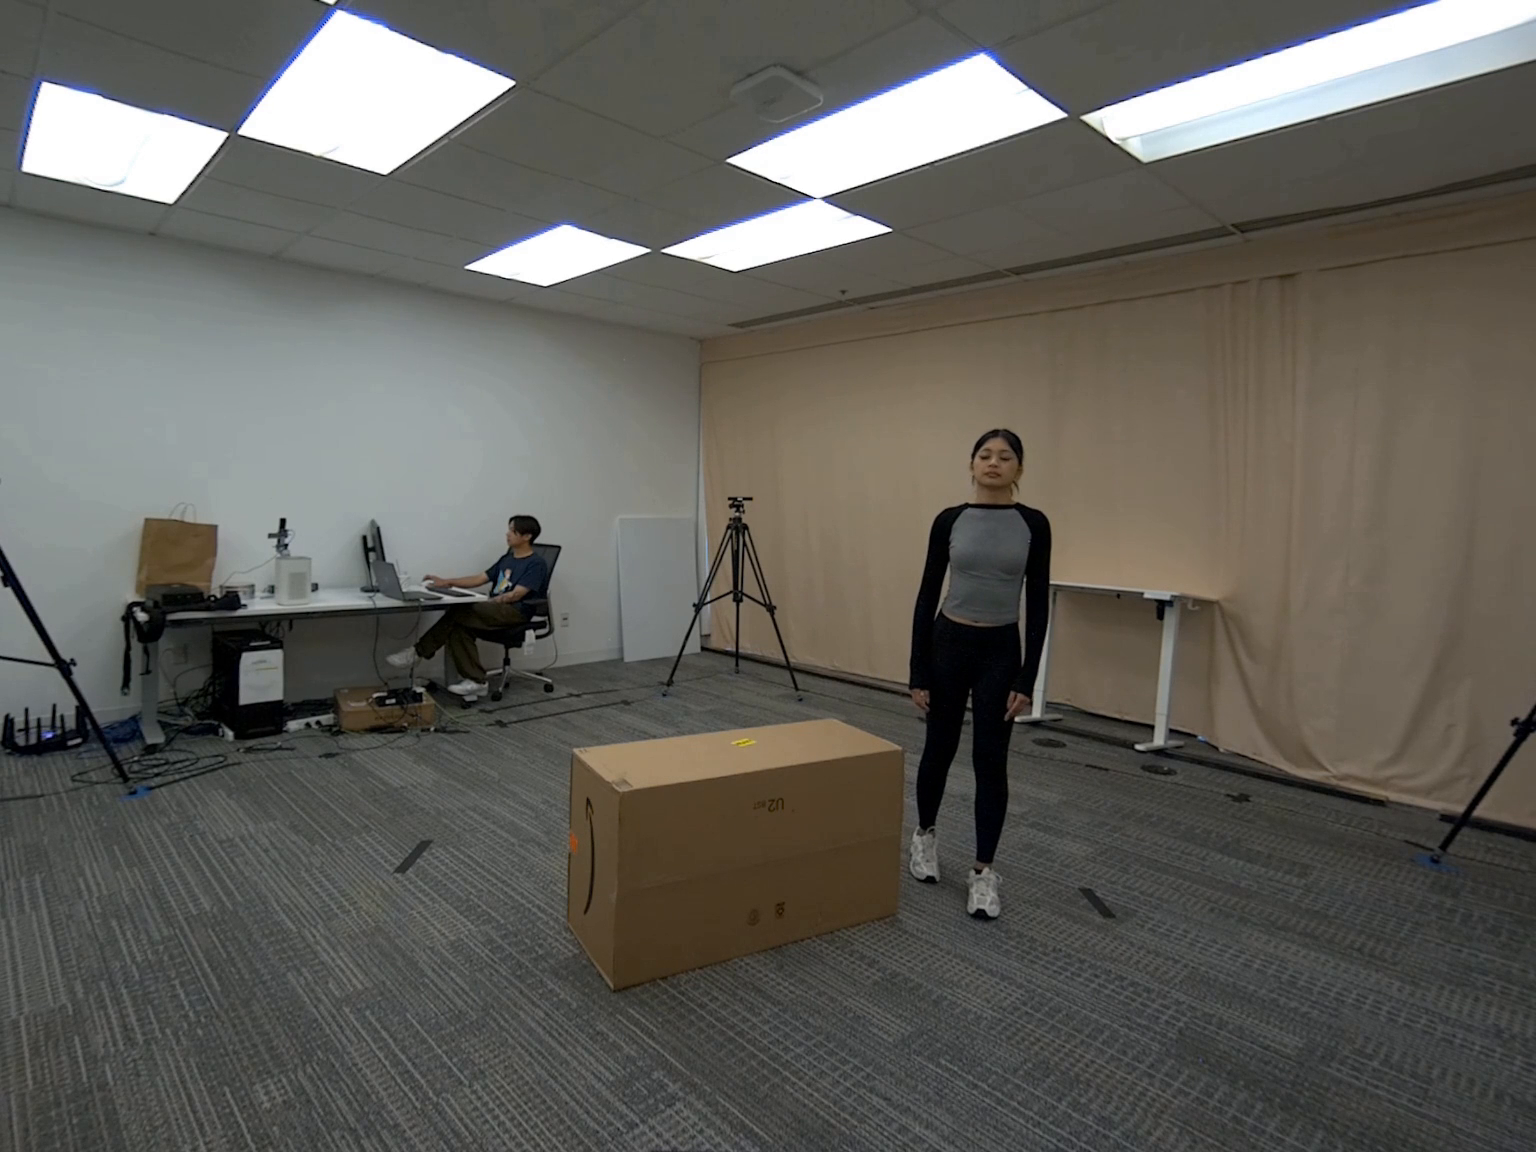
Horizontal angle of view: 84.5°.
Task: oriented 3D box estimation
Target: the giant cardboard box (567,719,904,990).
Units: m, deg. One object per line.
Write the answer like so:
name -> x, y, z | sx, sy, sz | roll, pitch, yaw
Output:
giant cardboard box -> -0.101, 0.851, 2.769 | 1.005, 0.576, 0.436 | -1, 5, -29
